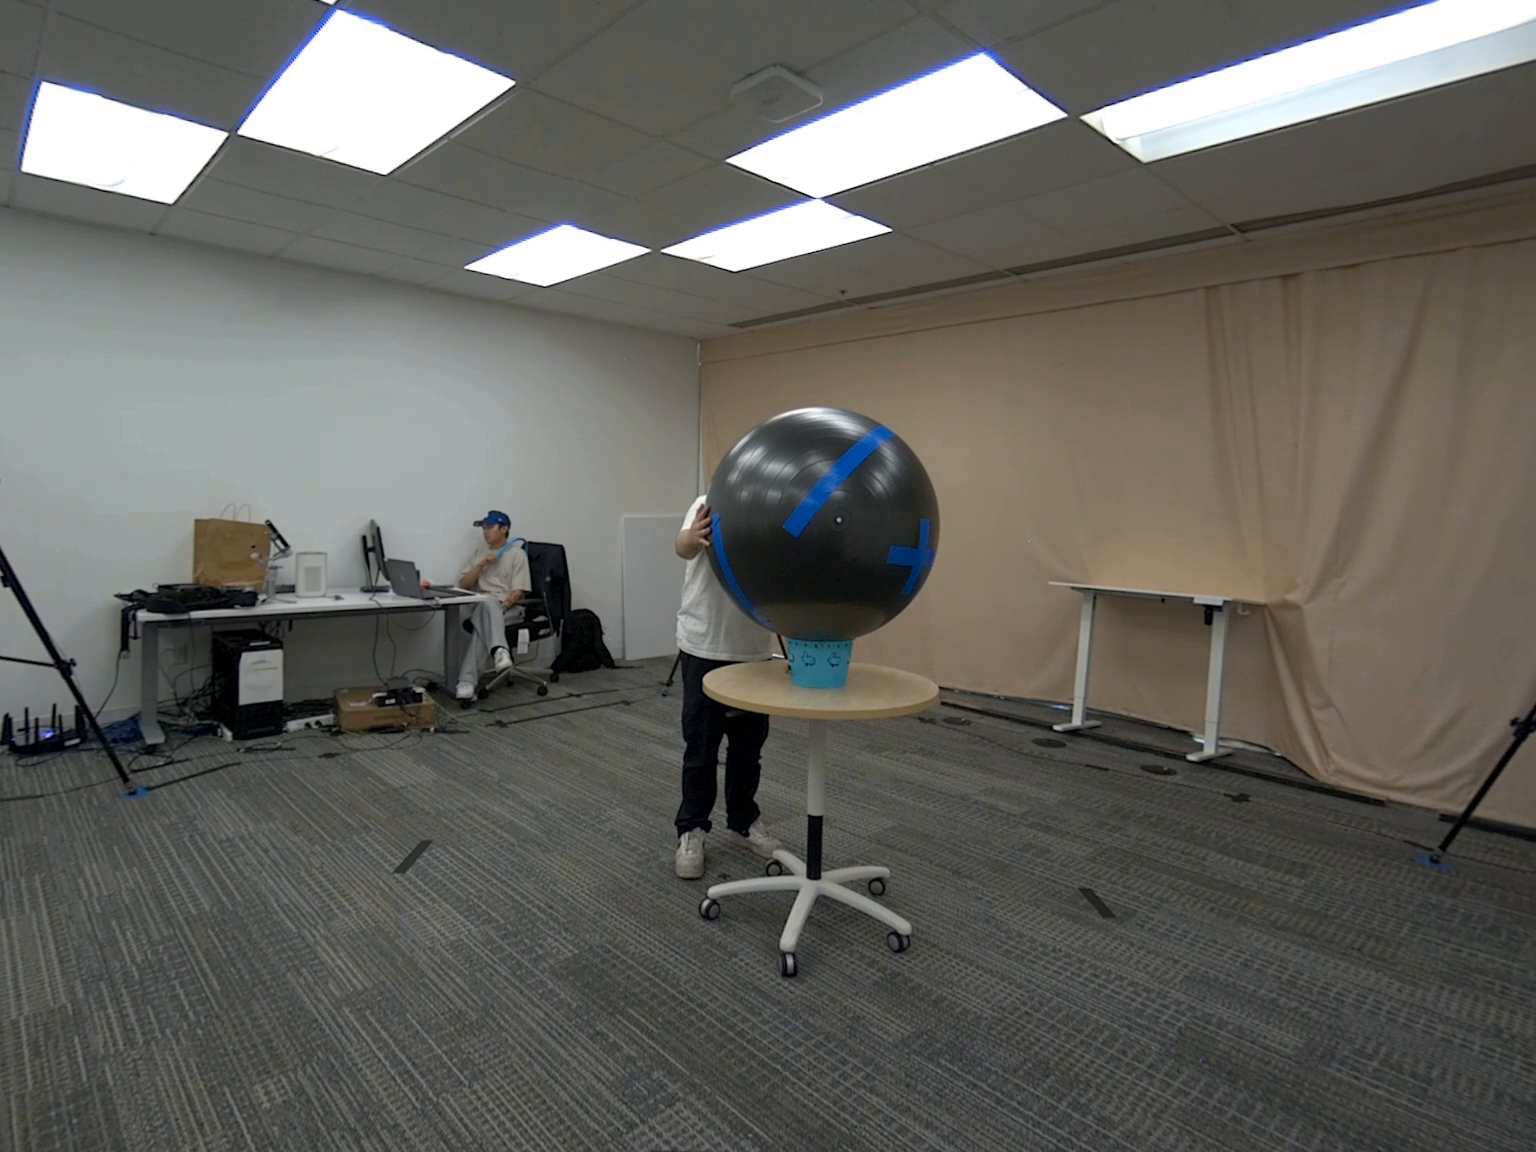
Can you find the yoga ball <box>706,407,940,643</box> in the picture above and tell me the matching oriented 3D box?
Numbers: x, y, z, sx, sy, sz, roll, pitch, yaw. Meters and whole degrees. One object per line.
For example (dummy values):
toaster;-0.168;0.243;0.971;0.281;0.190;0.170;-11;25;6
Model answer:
yoga ball;0.165;-0.161;2.732;0.757;0.756;0.761;1;4;-1
